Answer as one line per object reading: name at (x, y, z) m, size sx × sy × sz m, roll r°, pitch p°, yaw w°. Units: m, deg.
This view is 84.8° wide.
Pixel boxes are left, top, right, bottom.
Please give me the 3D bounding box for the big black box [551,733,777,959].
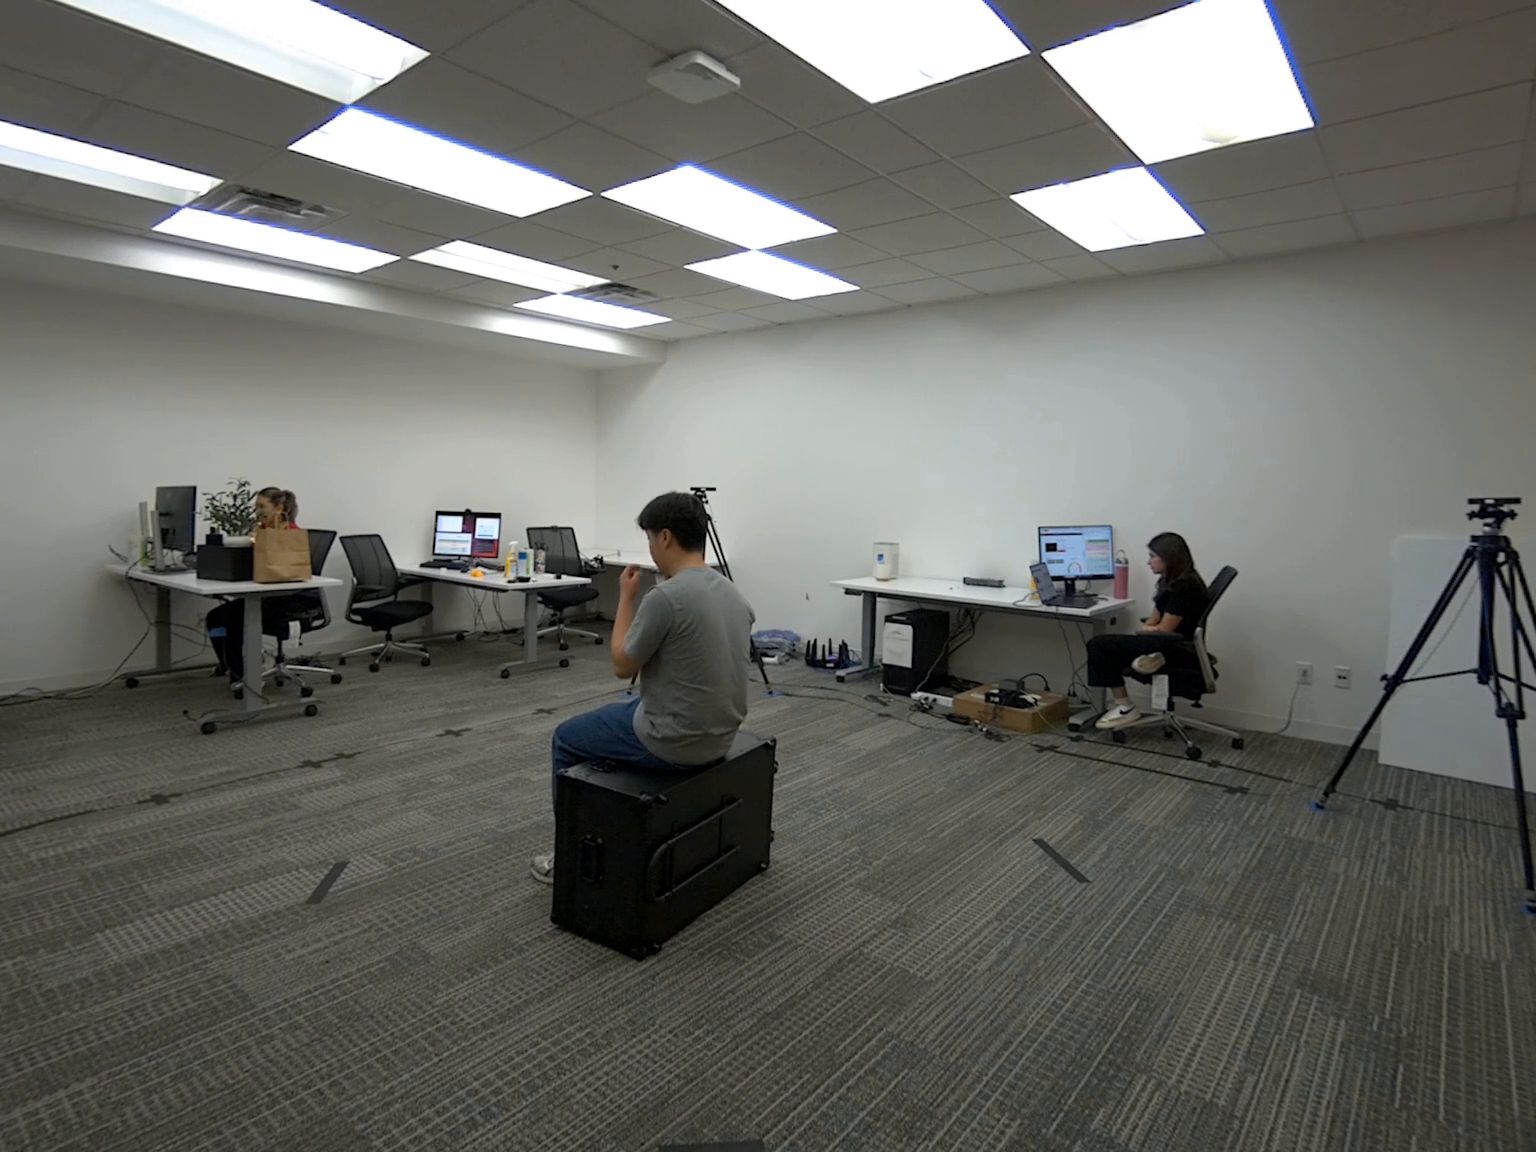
big black box at (-0.309, 0.830, 2.905) m, size 0.408 × 0.519 × 0.839 m, roll 5°, pitch 6°, yaw 29°
